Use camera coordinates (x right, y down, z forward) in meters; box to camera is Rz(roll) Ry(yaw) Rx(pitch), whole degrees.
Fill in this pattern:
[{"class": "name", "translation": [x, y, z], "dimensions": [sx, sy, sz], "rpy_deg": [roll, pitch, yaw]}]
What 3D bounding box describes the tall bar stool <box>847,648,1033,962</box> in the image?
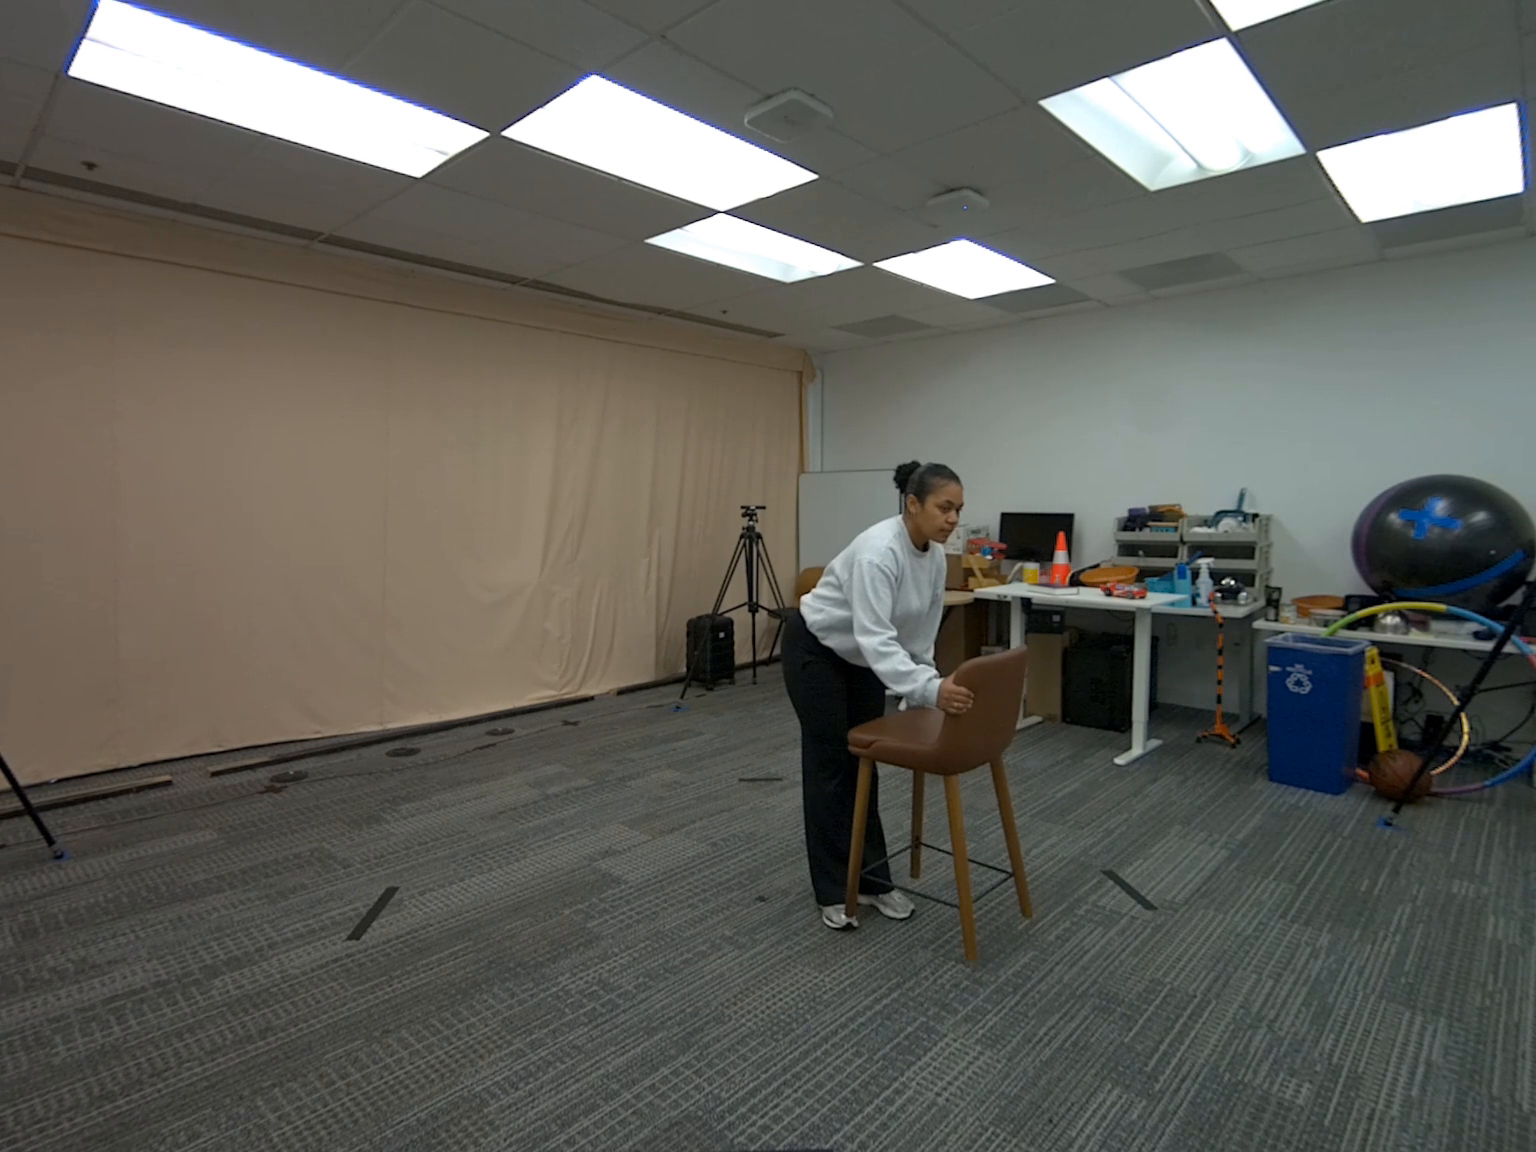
[{"class": "tall bar stool", "translation": [0.545, 0.654, 2.659], "dimensions": [0.483, 0.887, 0.443], "rpy_deg": [3, 6, 45]}]
